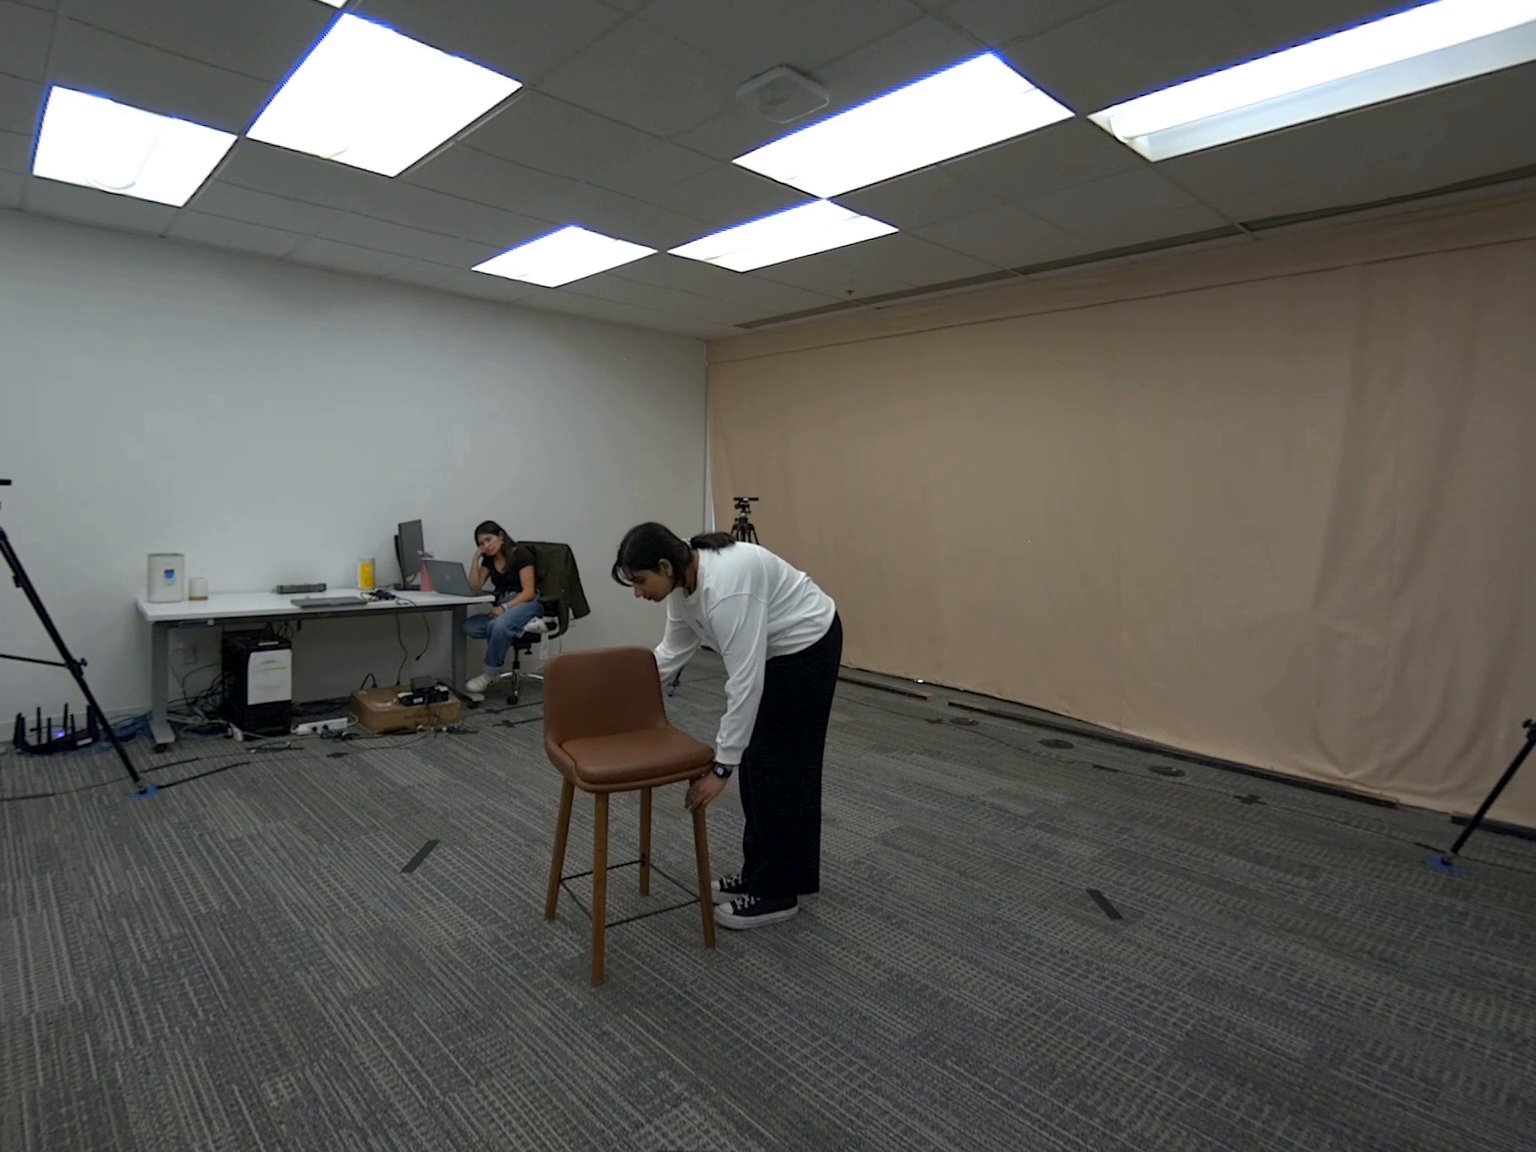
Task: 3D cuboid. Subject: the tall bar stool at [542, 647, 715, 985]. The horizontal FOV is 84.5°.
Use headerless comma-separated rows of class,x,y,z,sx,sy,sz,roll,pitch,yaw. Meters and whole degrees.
tall bar stool,-0.455,0.707,2.662,0.447,0.889,0.478,-1,2,-35
